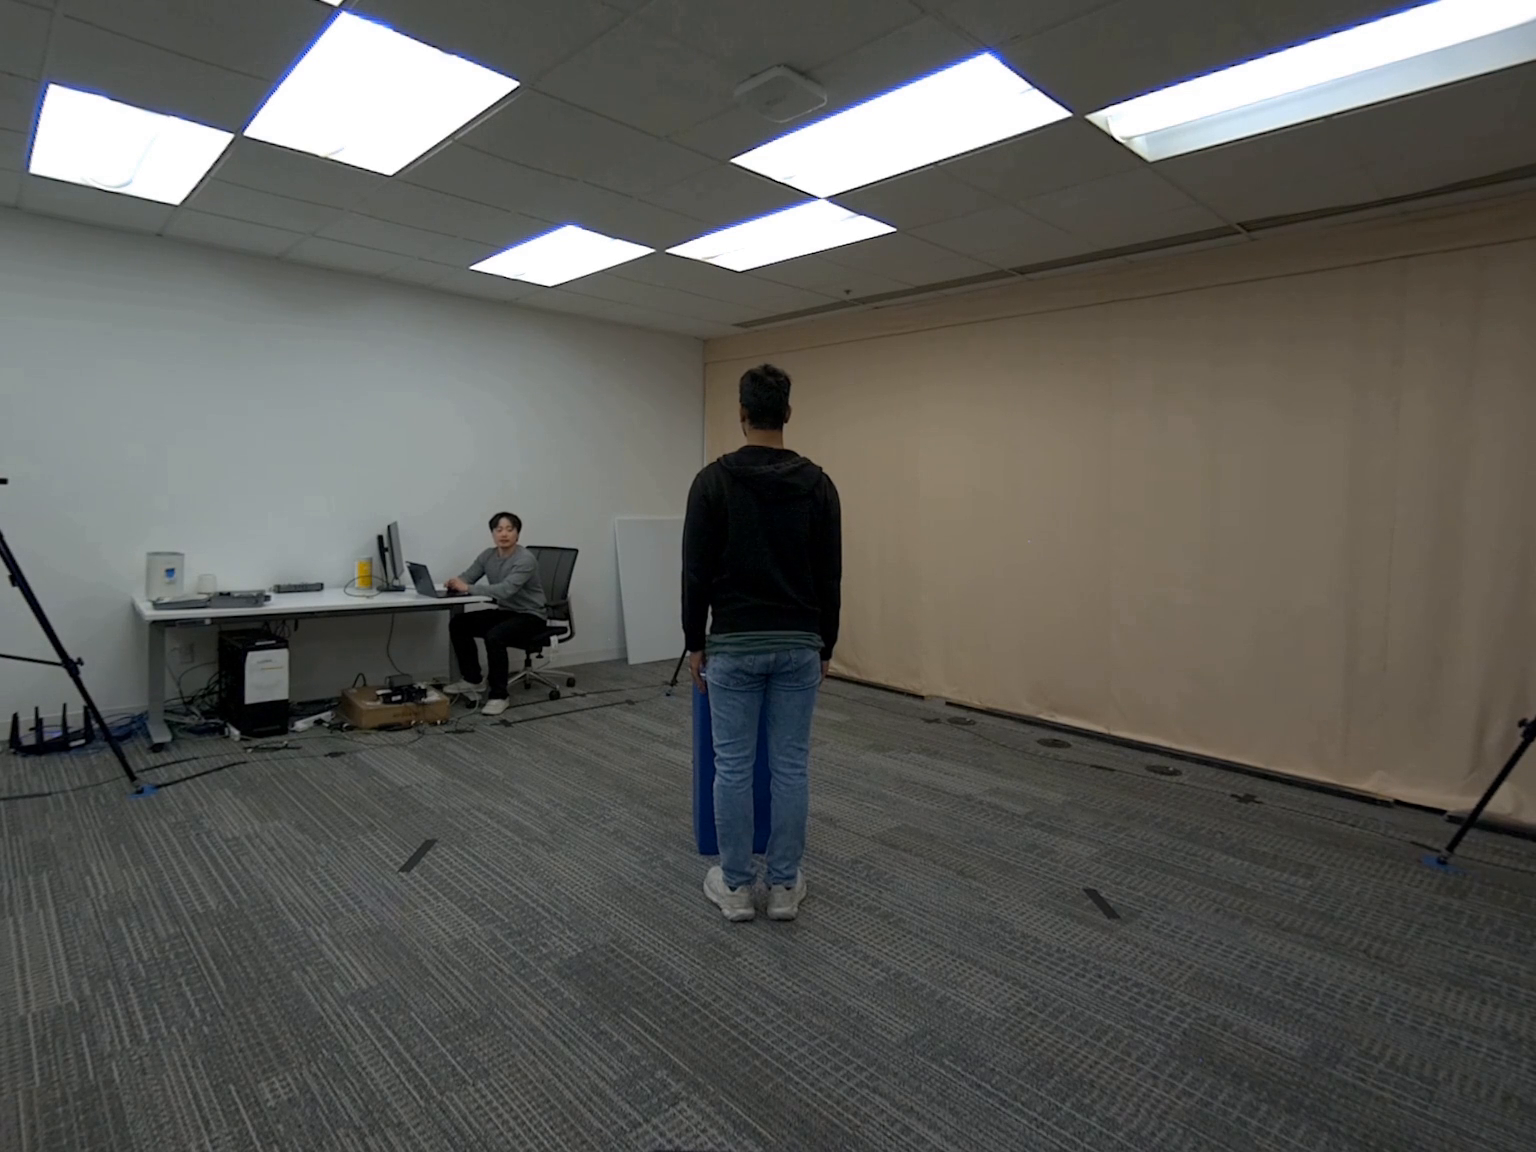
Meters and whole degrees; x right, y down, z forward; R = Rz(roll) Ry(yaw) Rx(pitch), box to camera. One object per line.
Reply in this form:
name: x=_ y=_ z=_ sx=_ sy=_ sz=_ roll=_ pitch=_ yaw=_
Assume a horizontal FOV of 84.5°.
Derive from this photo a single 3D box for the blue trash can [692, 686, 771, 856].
blue trash can: x=-0.141 y=0.723 z=3.437 sx=0.375 sy=0.712 sz=0.377 roll=2 pitch=2 yaw=-9
